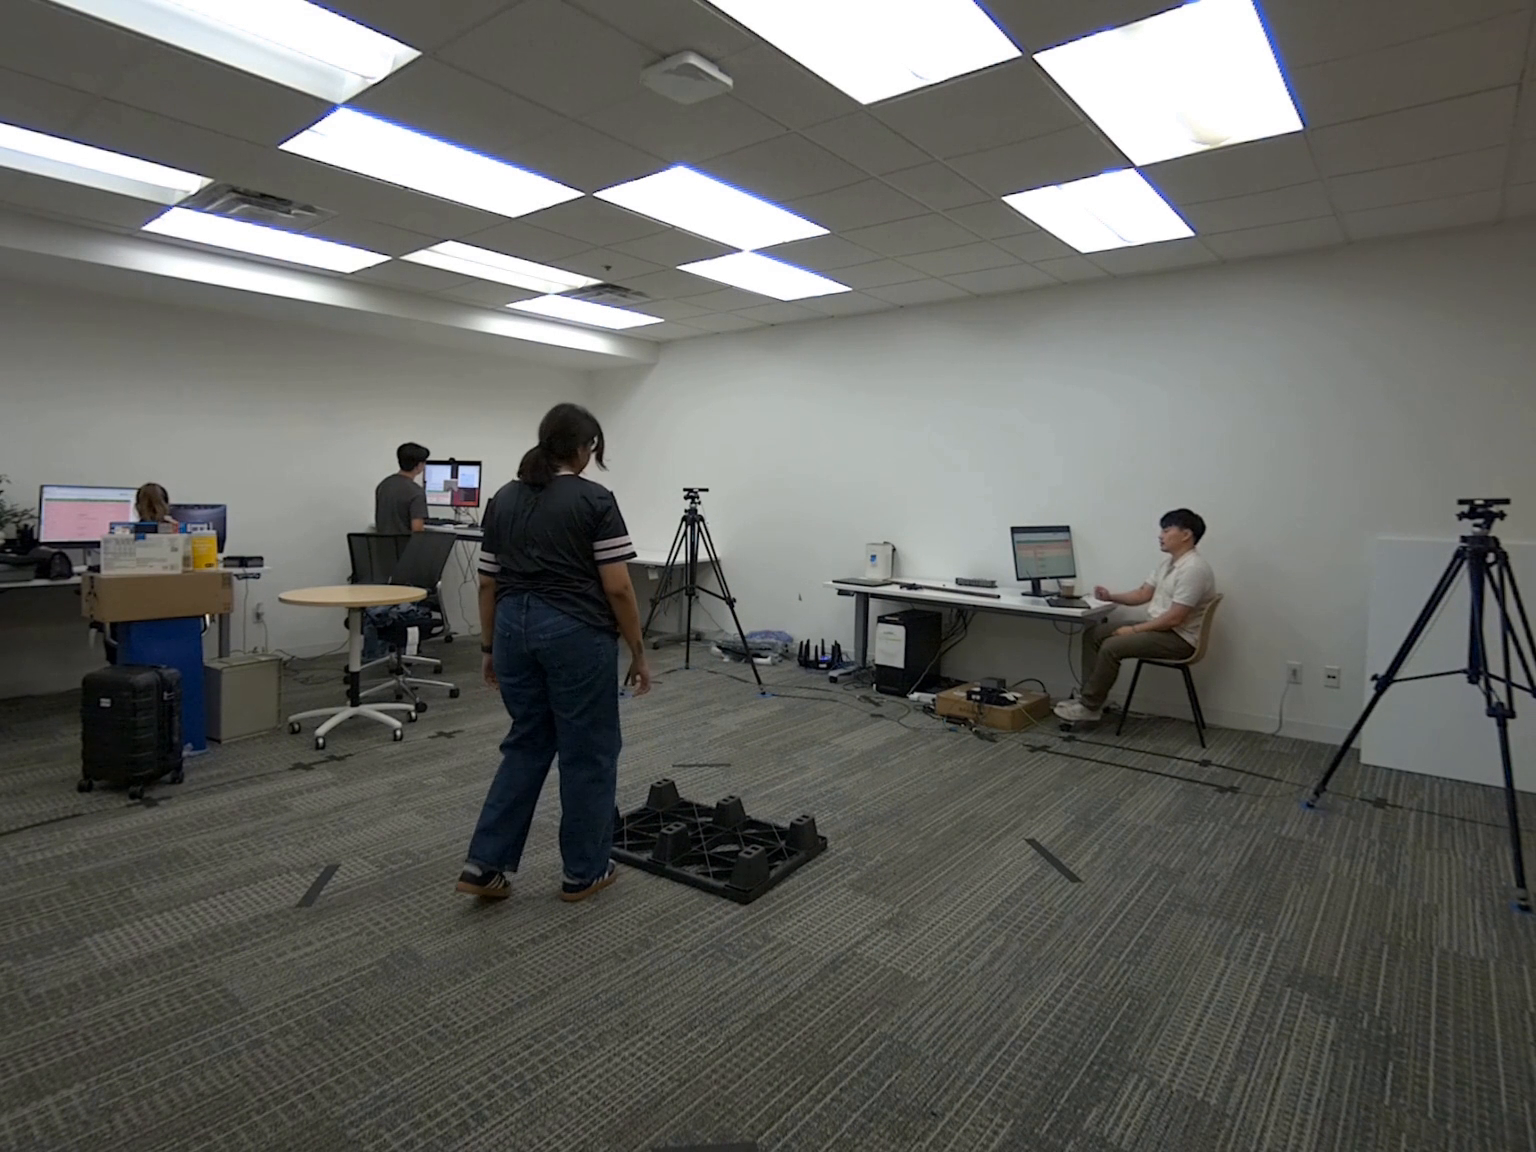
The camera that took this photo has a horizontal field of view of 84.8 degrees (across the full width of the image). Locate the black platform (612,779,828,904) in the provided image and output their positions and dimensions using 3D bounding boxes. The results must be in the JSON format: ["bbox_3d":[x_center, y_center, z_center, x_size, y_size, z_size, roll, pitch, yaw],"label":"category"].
[{"bbox_3d":[-0.259,0.985,3.303,0.831,0.143,0.589,5,7,33],"label":"black platform"}]
